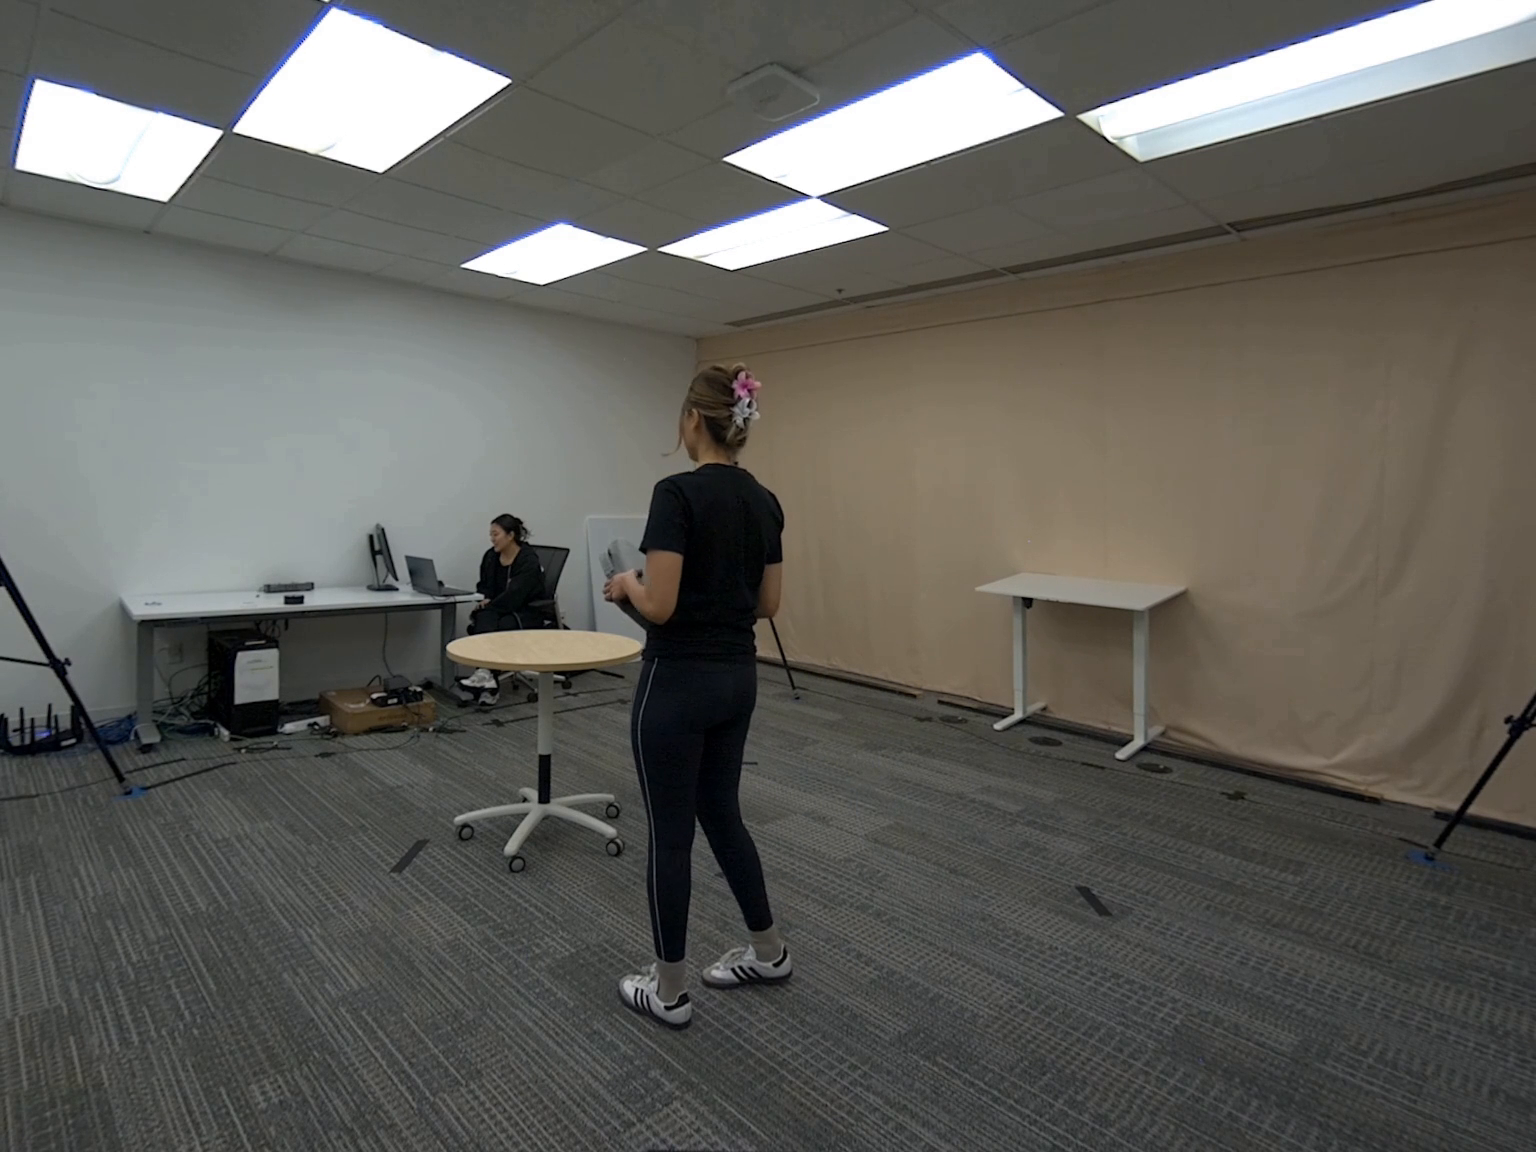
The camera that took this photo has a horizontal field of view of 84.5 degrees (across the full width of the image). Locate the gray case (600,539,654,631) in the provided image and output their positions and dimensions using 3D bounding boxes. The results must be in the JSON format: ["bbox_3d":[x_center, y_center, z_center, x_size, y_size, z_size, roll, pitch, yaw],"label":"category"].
[{"bbox_3d":[-0.394,0.039,2.462,0.104,0.253,0.264,-24,41,-2],"label":"gray case"}]
